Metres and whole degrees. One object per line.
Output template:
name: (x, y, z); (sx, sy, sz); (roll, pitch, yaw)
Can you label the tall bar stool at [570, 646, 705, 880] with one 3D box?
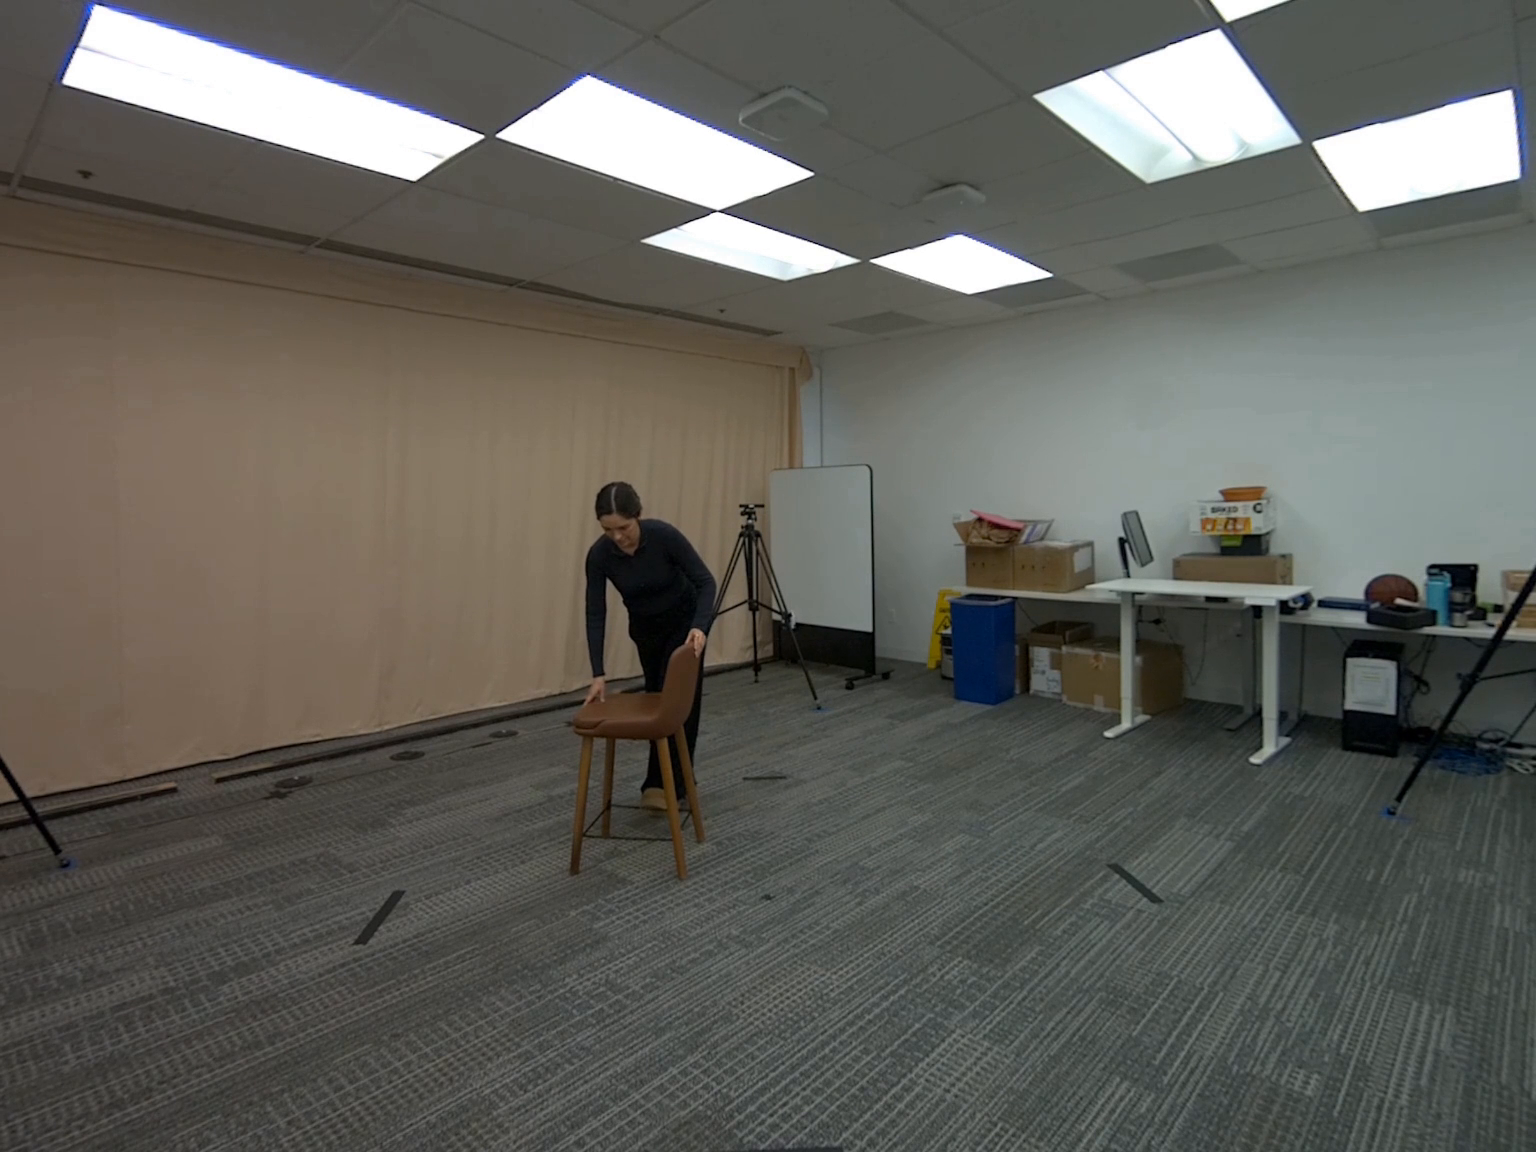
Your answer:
tall bar stool: (-0.509, 0.683, 3.336); (0.473, 0.888, 0.452); (1, 3, 9)
